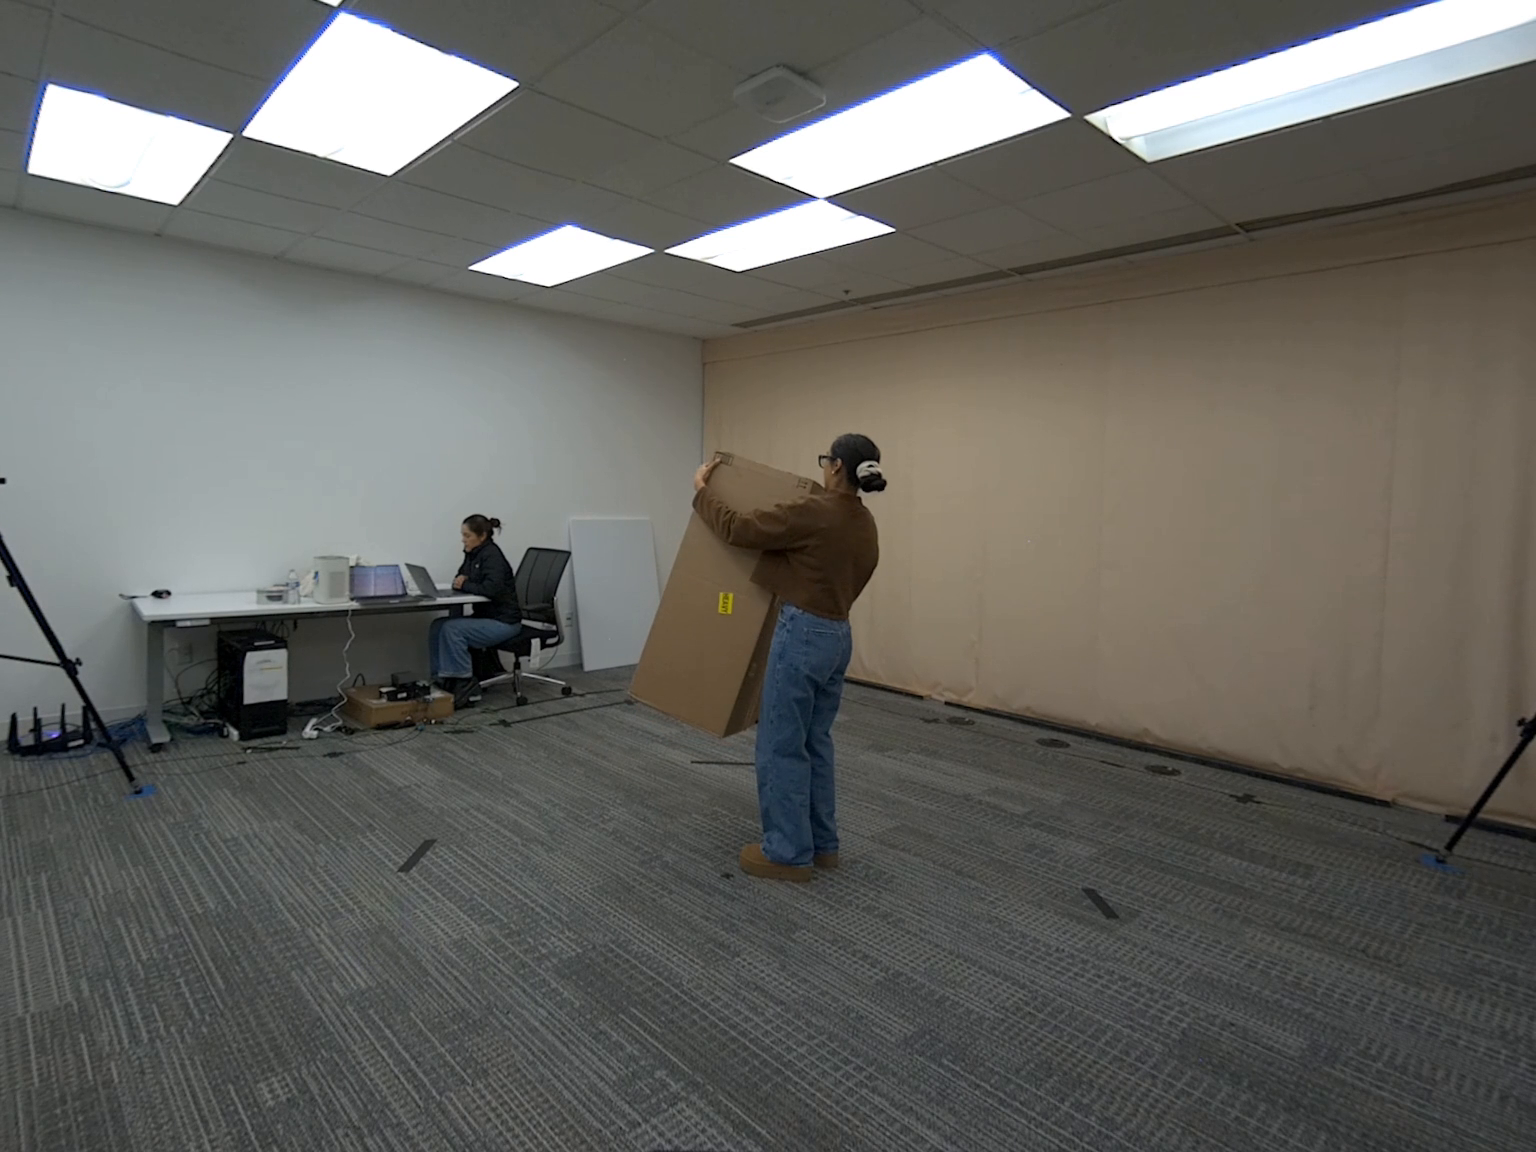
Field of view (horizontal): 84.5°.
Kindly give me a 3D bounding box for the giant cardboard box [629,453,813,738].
[{"bbox_3d":[-0.123,0.072,3.465,0.433,1.025,0.568,20,1,16],"label":"giant cardboard box"}]
